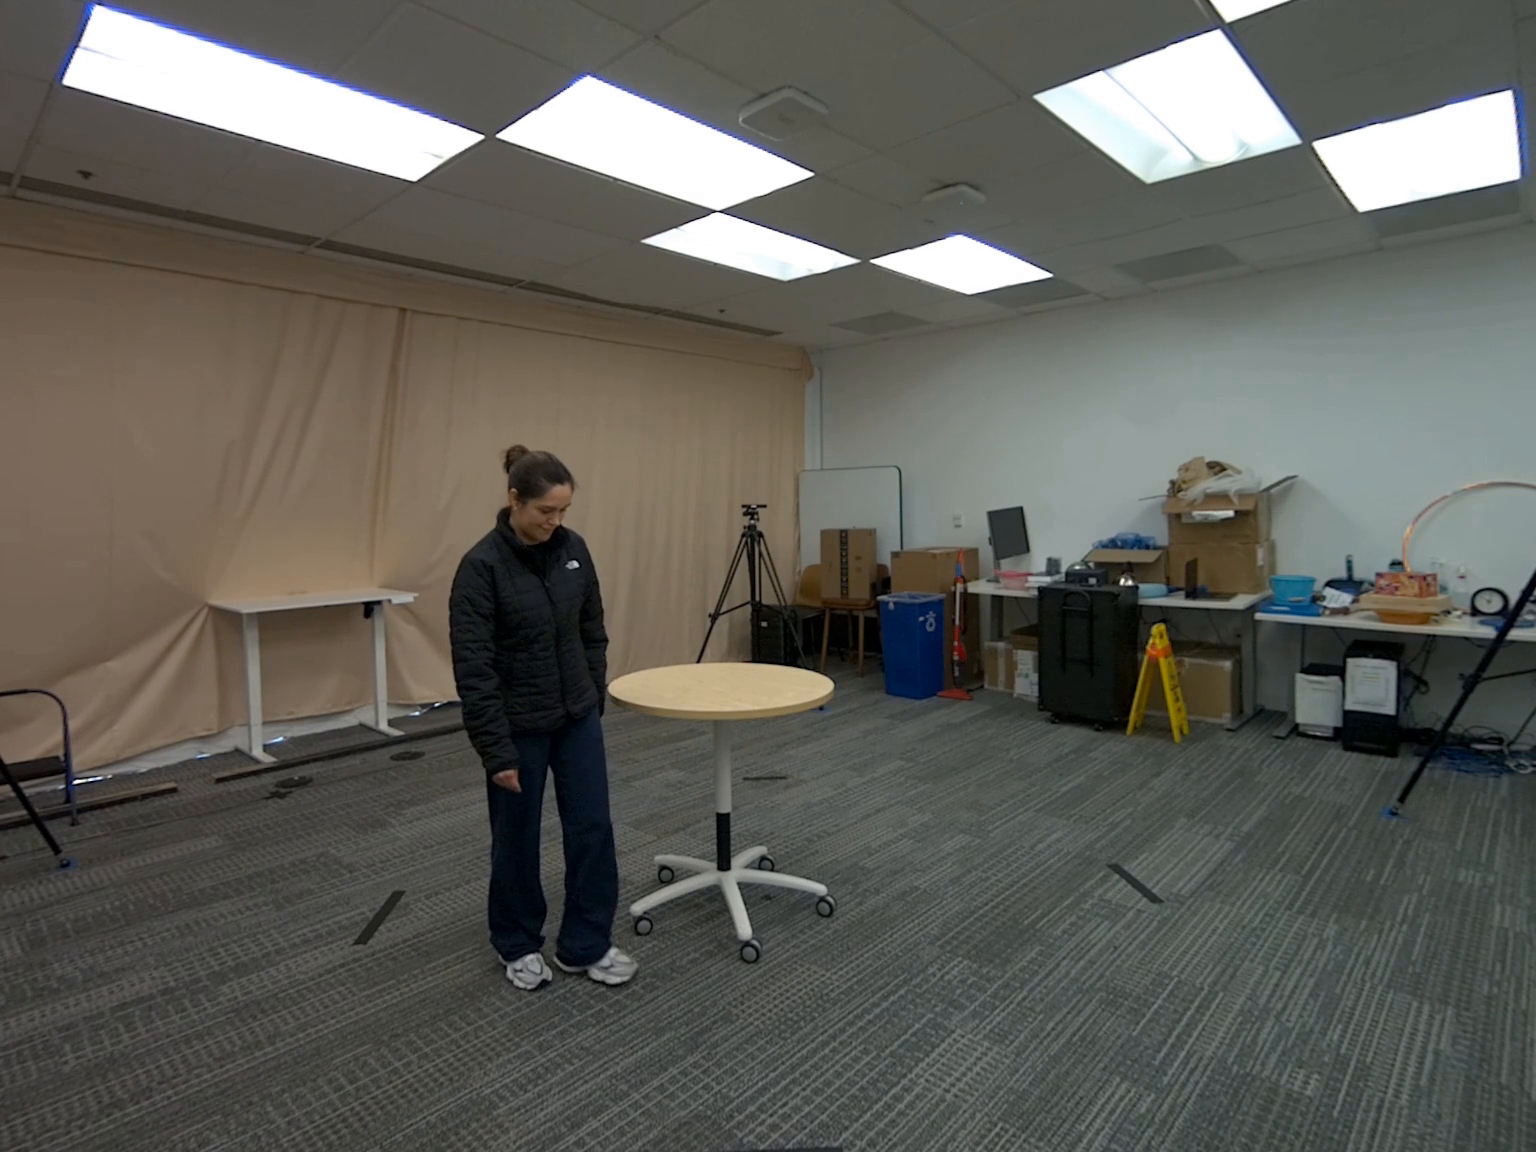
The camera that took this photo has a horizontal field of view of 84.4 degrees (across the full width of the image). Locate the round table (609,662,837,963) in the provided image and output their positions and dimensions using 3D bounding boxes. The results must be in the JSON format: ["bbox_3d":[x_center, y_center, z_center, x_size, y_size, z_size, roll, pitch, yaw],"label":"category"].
[{"bbox_3d":[-0.142,0.756,2.904,0.784,0.785,0.788,-1,4,-2],"label":"round table"}]
